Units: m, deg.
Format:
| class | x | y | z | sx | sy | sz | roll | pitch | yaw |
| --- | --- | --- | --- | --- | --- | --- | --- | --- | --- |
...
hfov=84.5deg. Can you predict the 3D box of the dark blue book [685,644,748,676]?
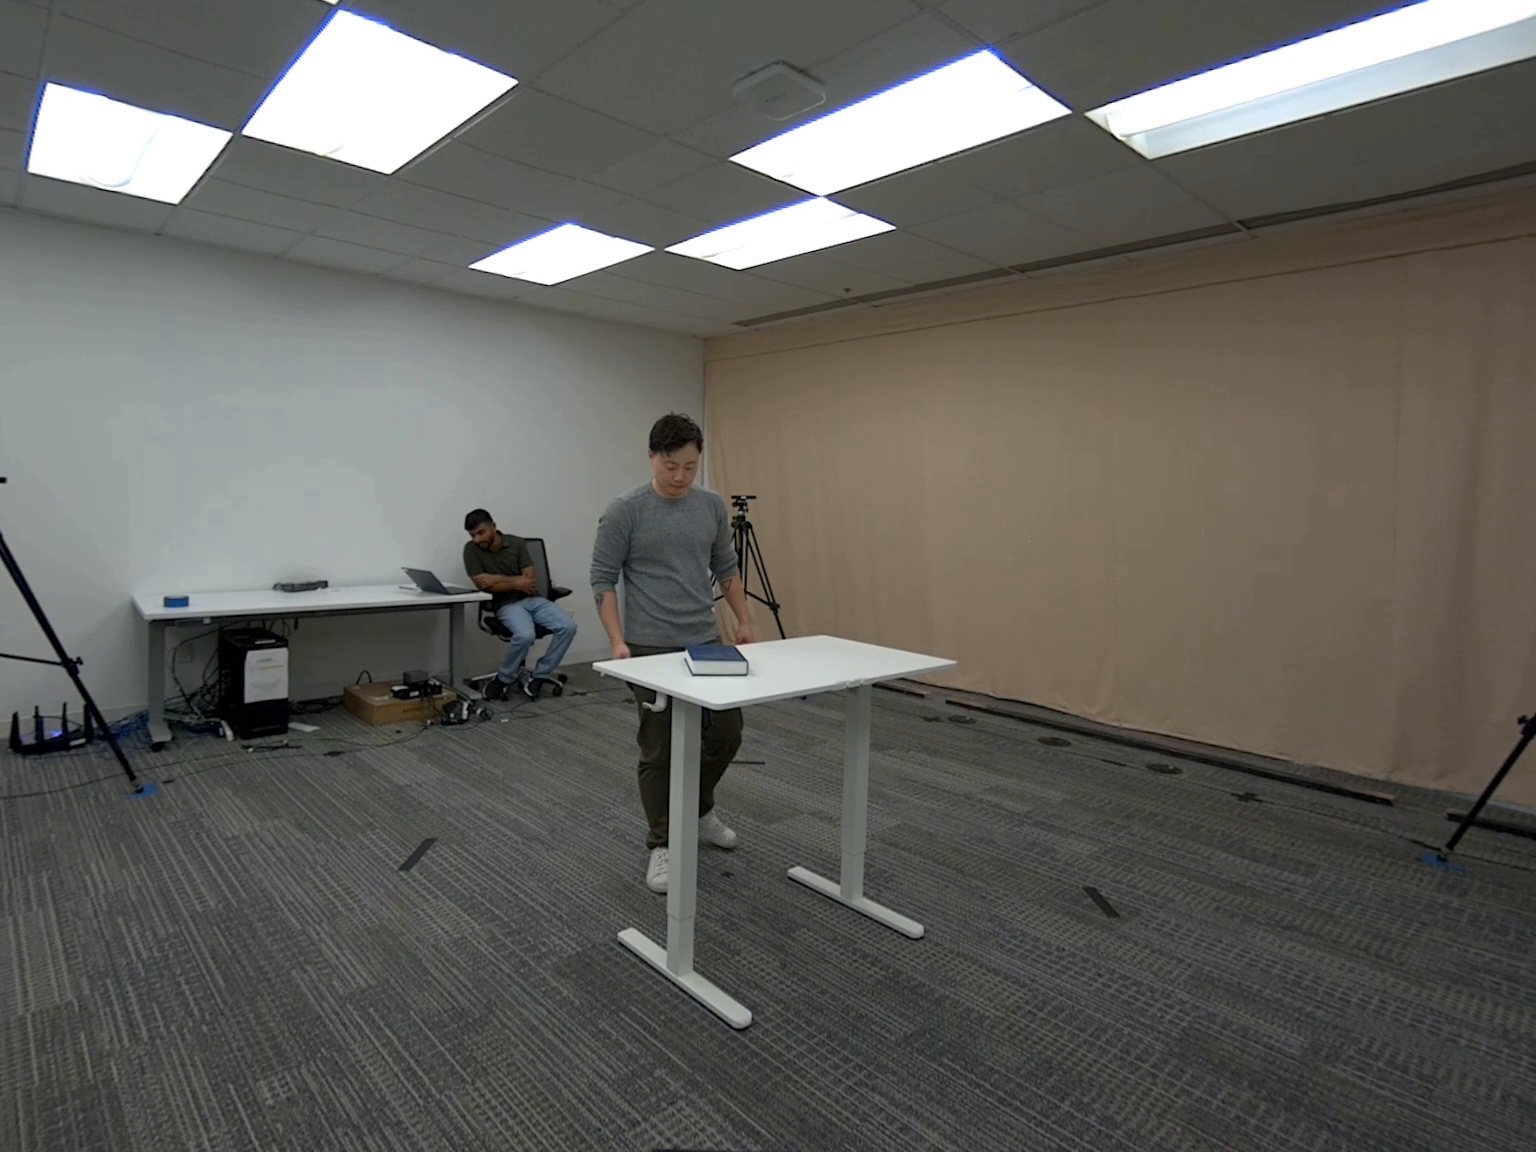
| class | x | y | z | sx | sy | sz | roll | pitch | yaw |
| --- | --- | --- | --- | --- | --- | --- | --- | --- | --- |
| dark blue book | -0.159 | 0.254 | 2.506 | 0.162 | 0.045 | 0.248 | 2 | 7 | -9 |
